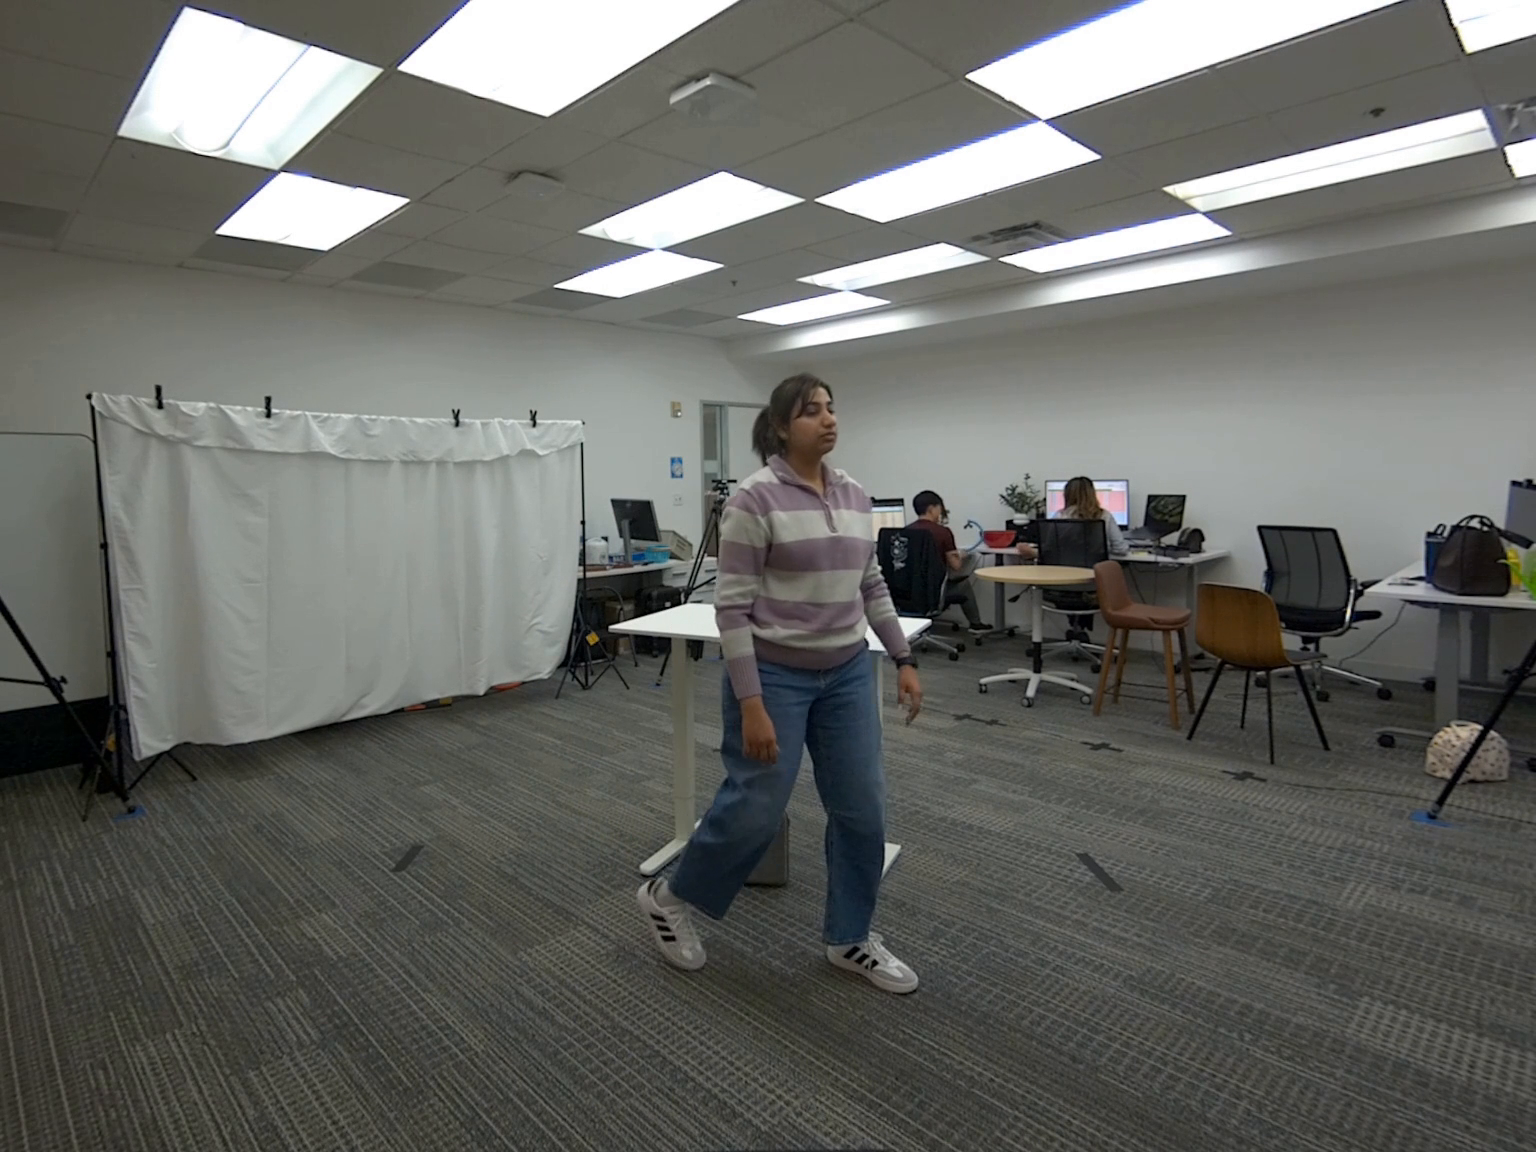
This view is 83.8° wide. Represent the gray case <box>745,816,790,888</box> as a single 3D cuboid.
[{"bbox_3d":[-0.062,0.928,2.989,0.259,0.262,0.103,2,-6,8],"label":"gray case"}]
